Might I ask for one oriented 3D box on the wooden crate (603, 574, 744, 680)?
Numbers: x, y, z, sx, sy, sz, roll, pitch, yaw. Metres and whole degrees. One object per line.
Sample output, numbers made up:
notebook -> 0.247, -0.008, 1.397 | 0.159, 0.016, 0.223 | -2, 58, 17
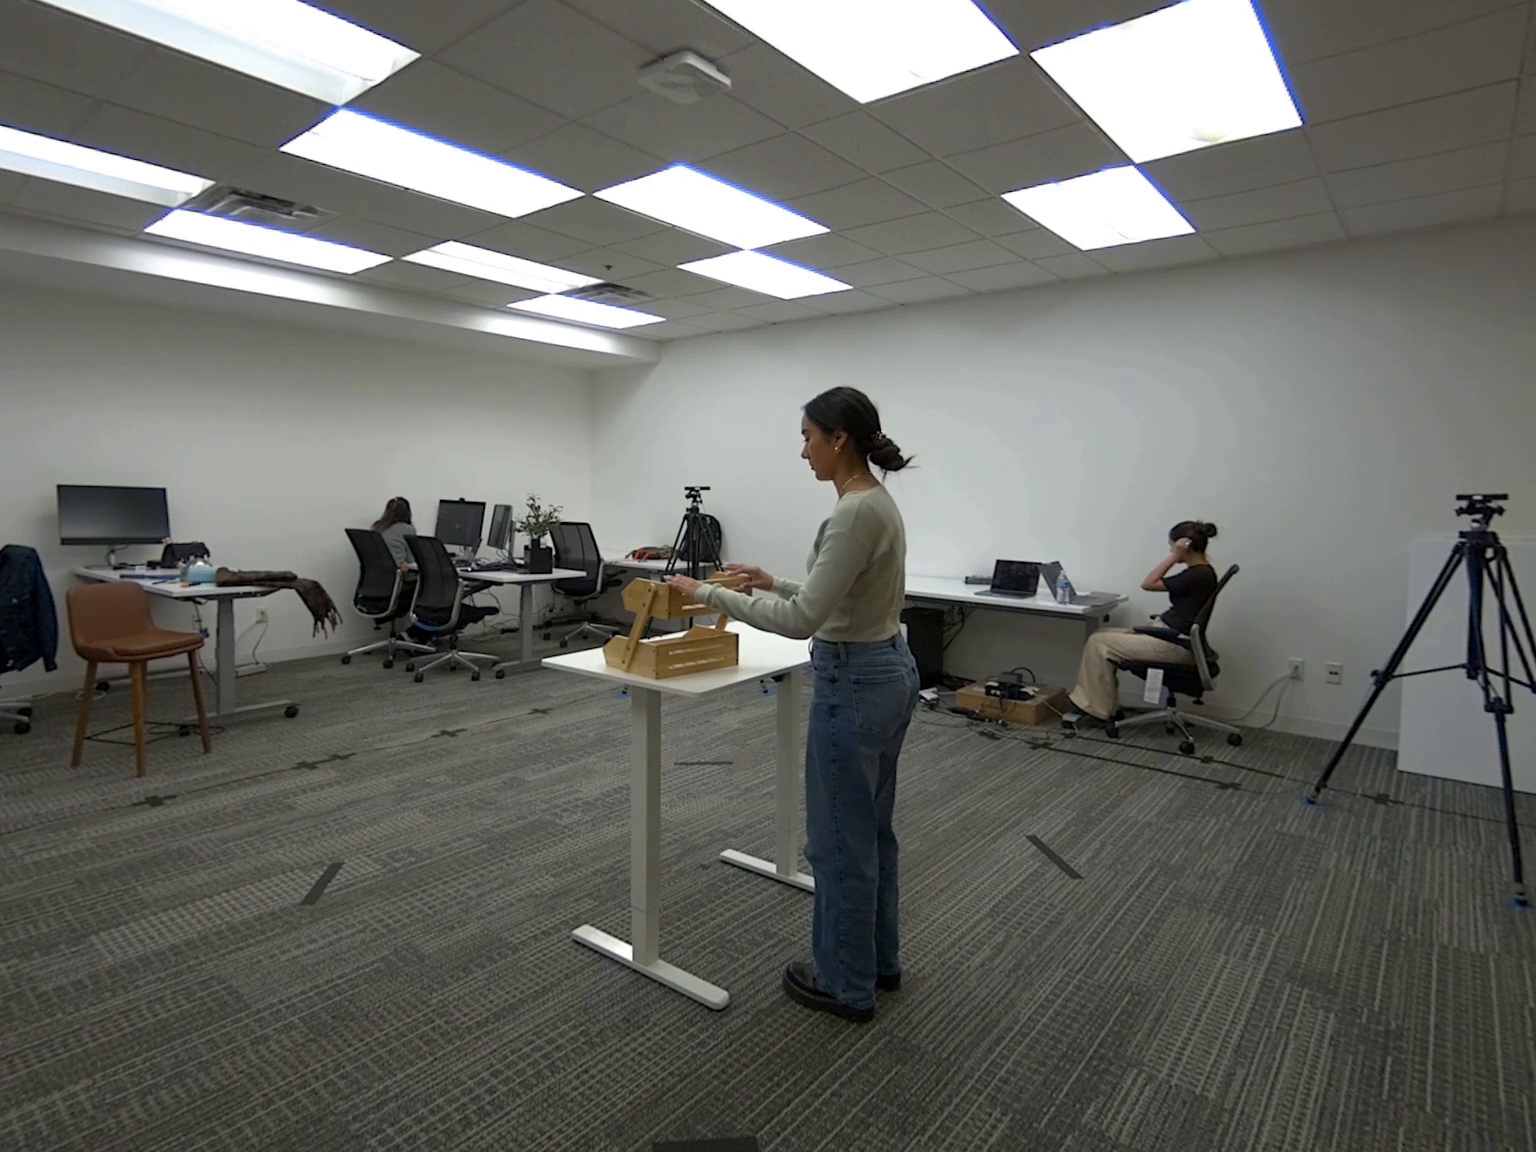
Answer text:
wooden crate -> -0.267, 0.124, 2.407 | 0.315, 0.272, 0.312 | -5, 8, -43
